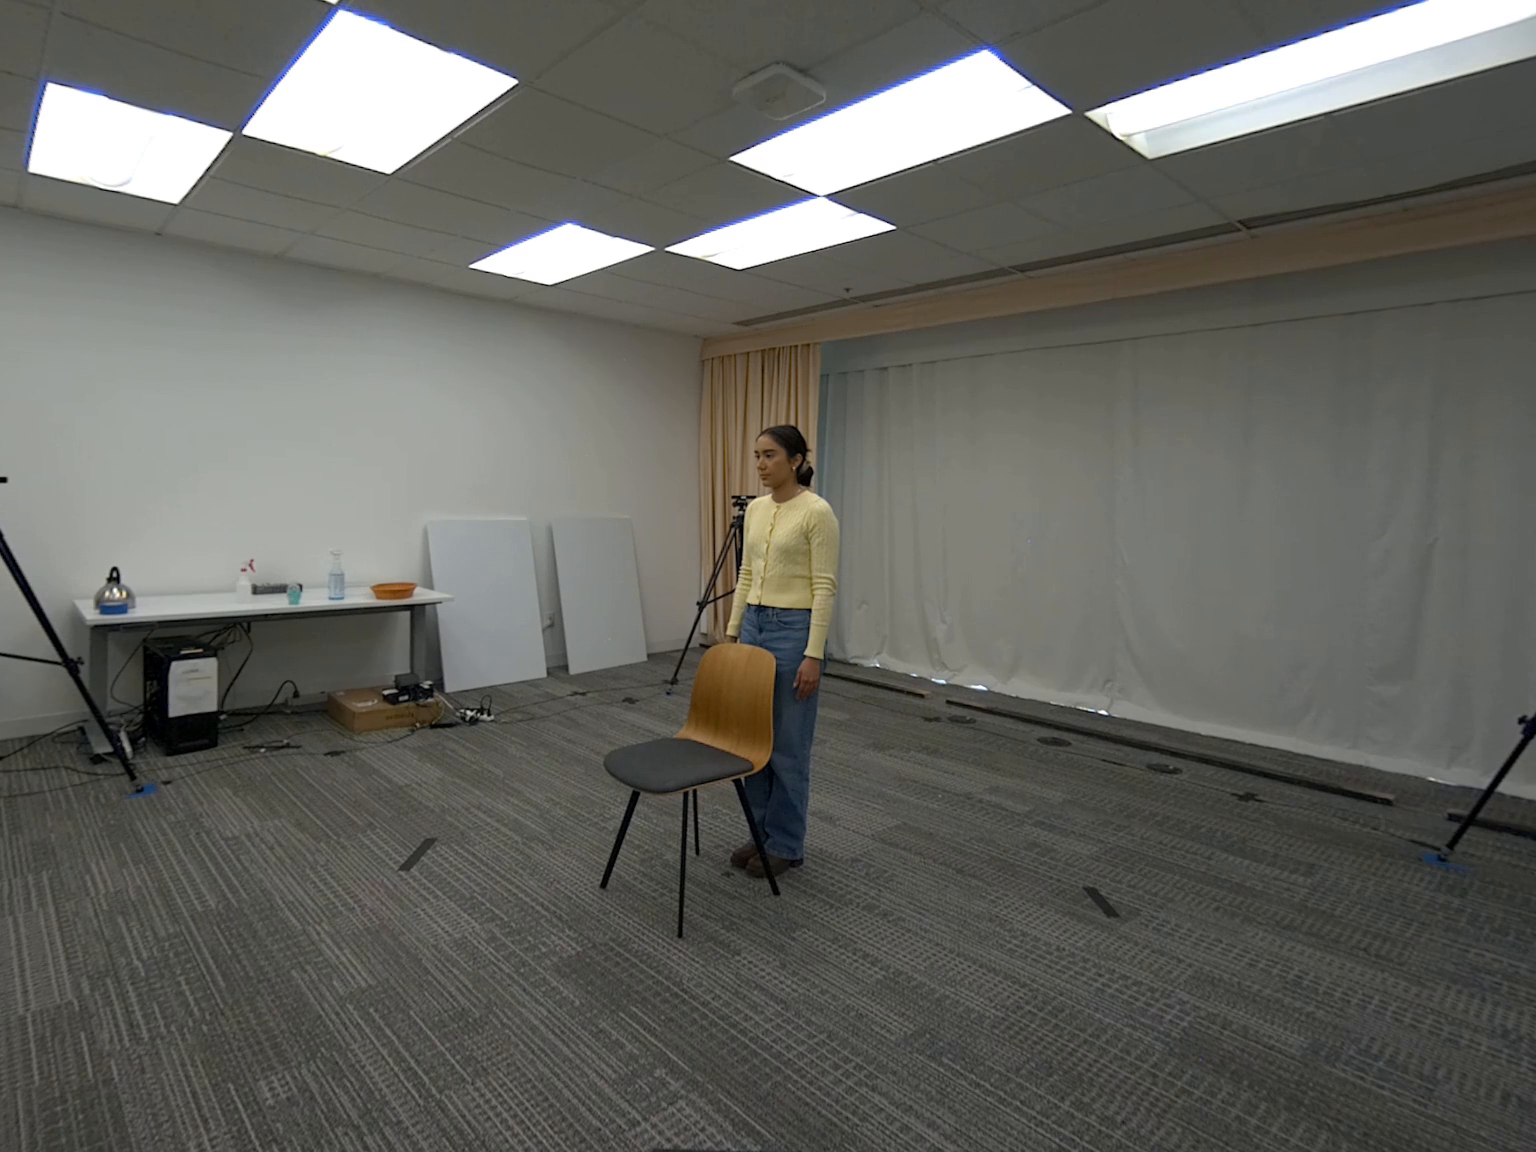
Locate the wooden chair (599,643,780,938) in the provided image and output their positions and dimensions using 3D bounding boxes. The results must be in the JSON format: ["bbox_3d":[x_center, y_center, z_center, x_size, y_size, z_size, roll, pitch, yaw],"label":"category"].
[{"bbox_3d":[-0.277,0.689,2.918,0.510,0.877,0.490,4,1,-44],"label":"wooden chair"}]
